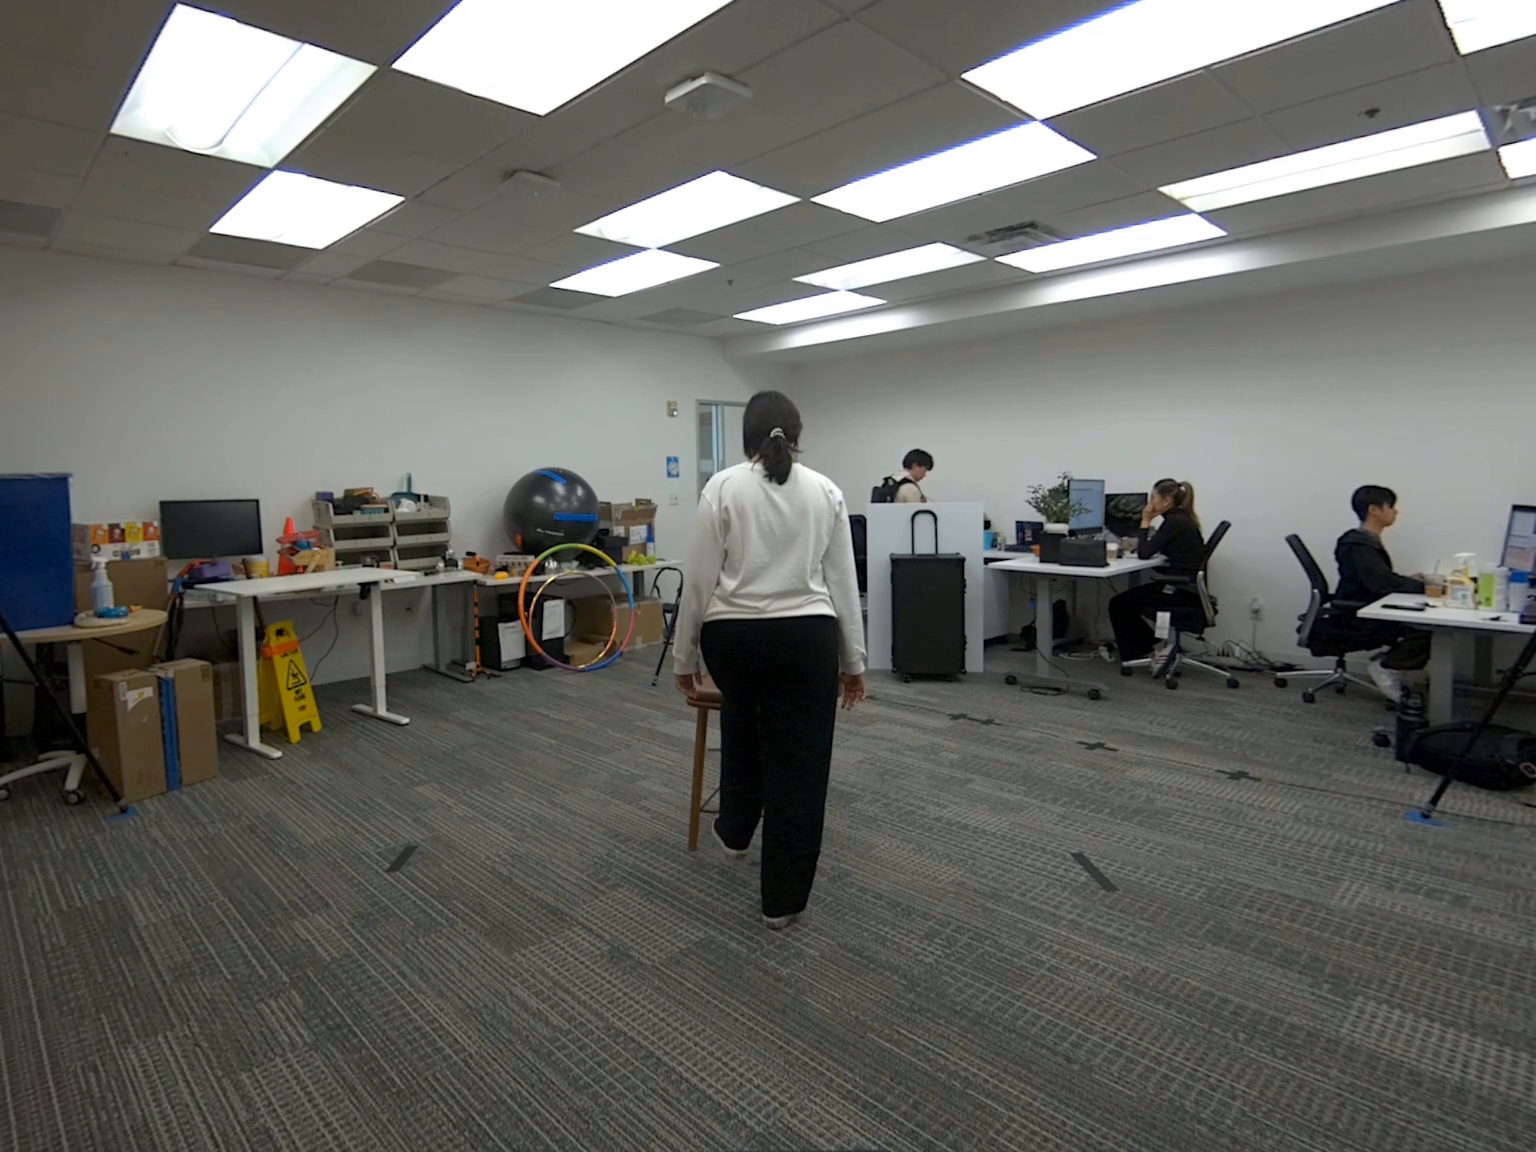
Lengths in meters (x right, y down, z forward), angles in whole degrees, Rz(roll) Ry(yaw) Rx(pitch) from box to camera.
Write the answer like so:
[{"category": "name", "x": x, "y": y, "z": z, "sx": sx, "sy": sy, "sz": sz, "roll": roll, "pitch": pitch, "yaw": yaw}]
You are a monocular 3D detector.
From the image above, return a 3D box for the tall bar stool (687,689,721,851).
[{"category": "tall bar stool", "x": -0.058, "y": 0.582, "z": 3.371, "sx": 0.463, "sy": 0.888, "sz": 0.462, "roll": 0, "pitch": 2, "yaw": 14}]
